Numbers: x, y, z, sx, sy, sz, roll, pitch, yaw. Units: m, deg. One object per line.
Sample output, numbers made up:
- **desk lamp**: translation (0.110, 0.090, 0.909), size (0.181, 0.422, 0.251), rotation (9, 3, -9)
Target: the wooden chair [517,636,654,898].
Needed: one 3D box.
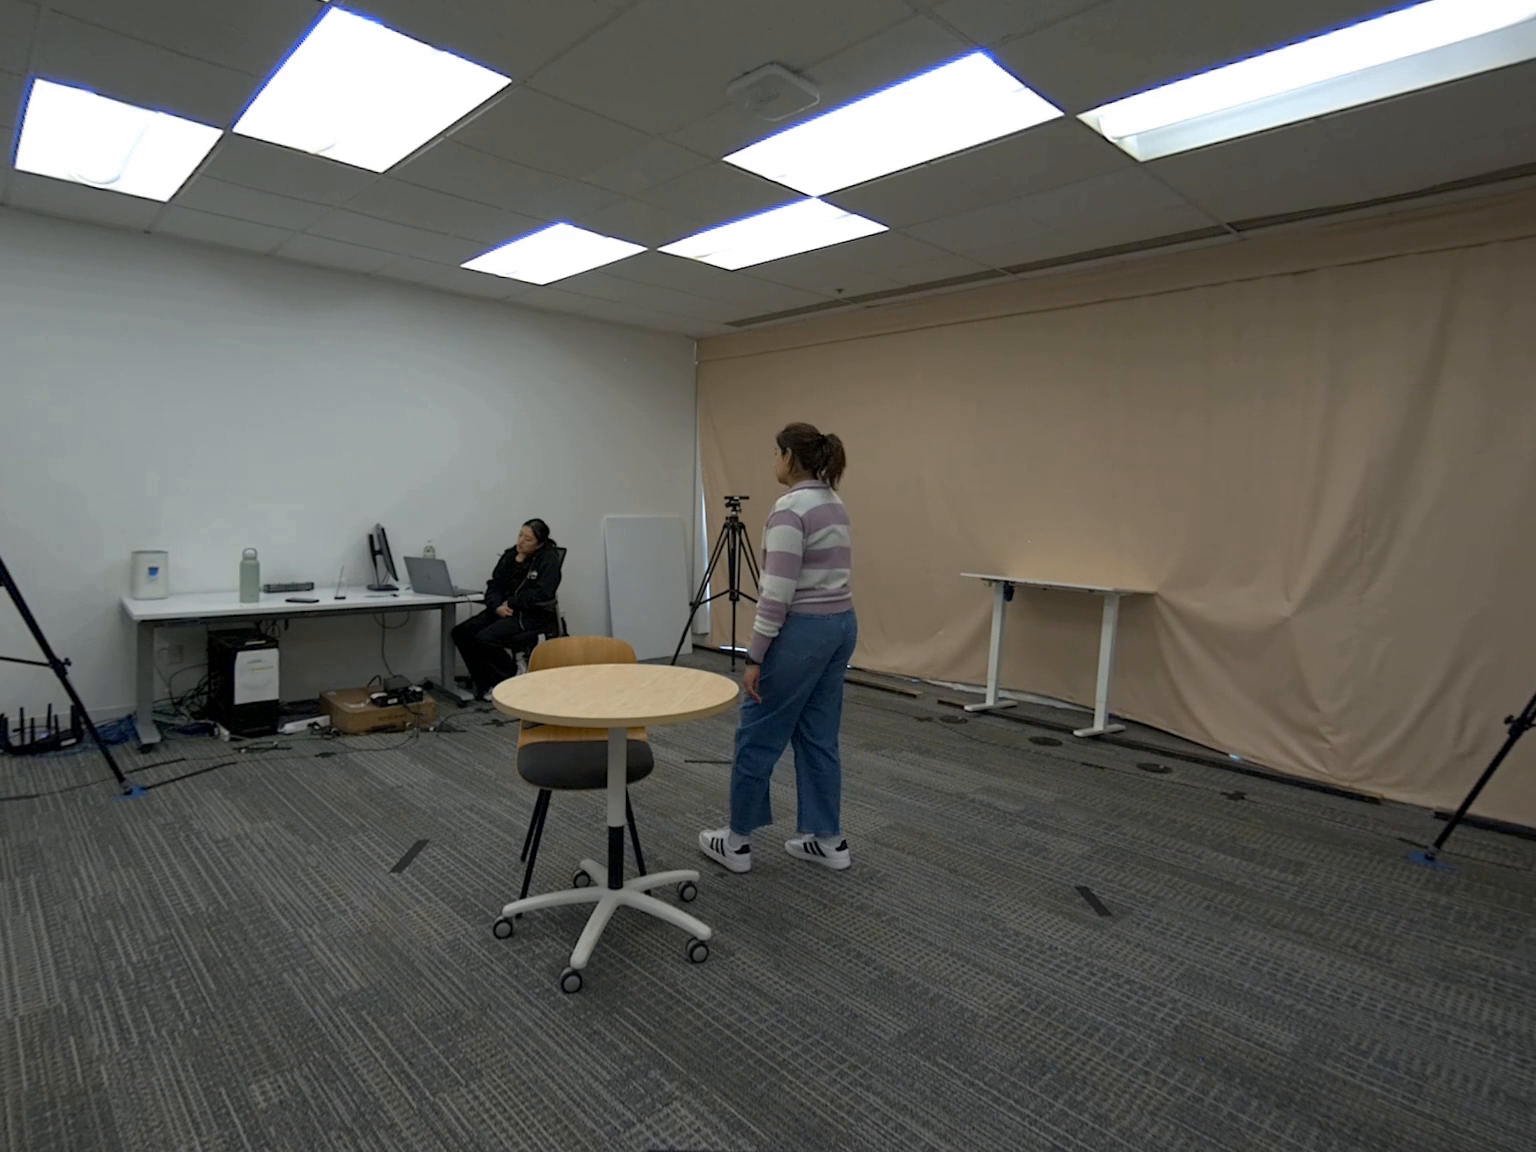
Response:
- **wooden chair**: translation (-0.651, 0.678, 2.970), size (0.473, 0.878, 0.529), rotation (1, 0, -14)
